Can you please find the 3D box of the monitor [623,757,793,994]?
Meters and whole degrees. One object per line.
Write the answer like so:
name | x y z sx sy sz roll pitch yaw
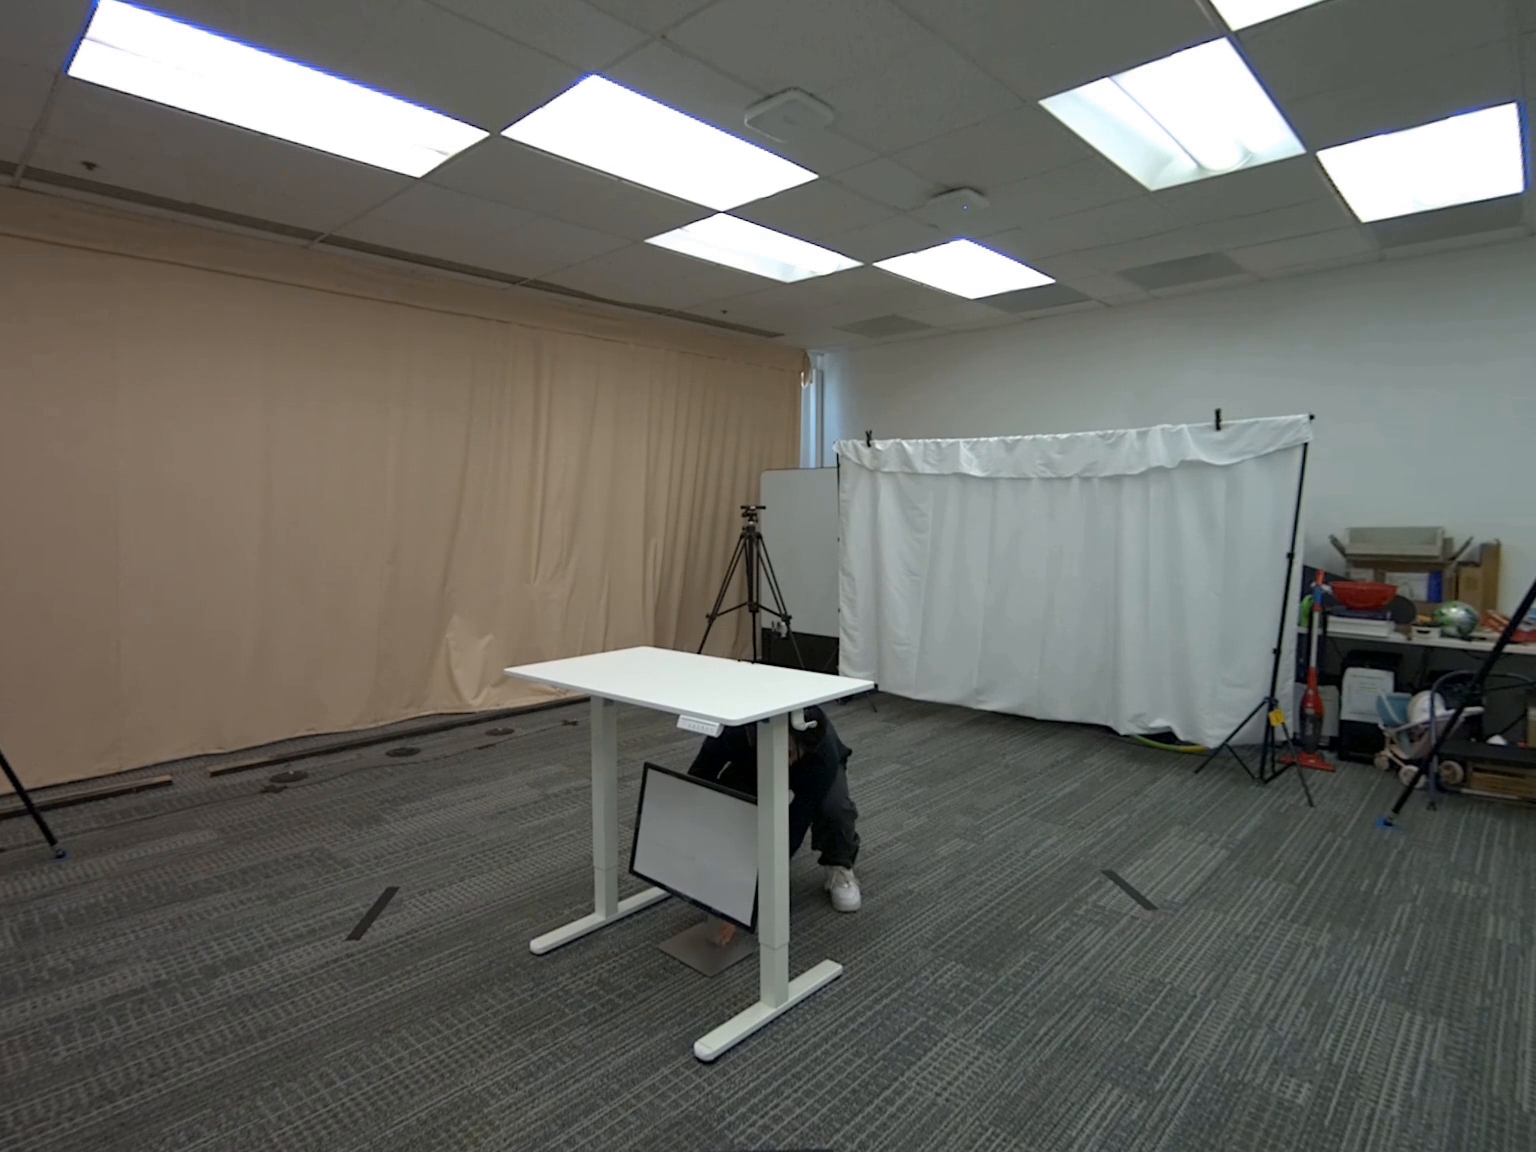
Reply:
monitor | -0.196 0.894 2.619 0.548 0.513 0.170 5 11 45
